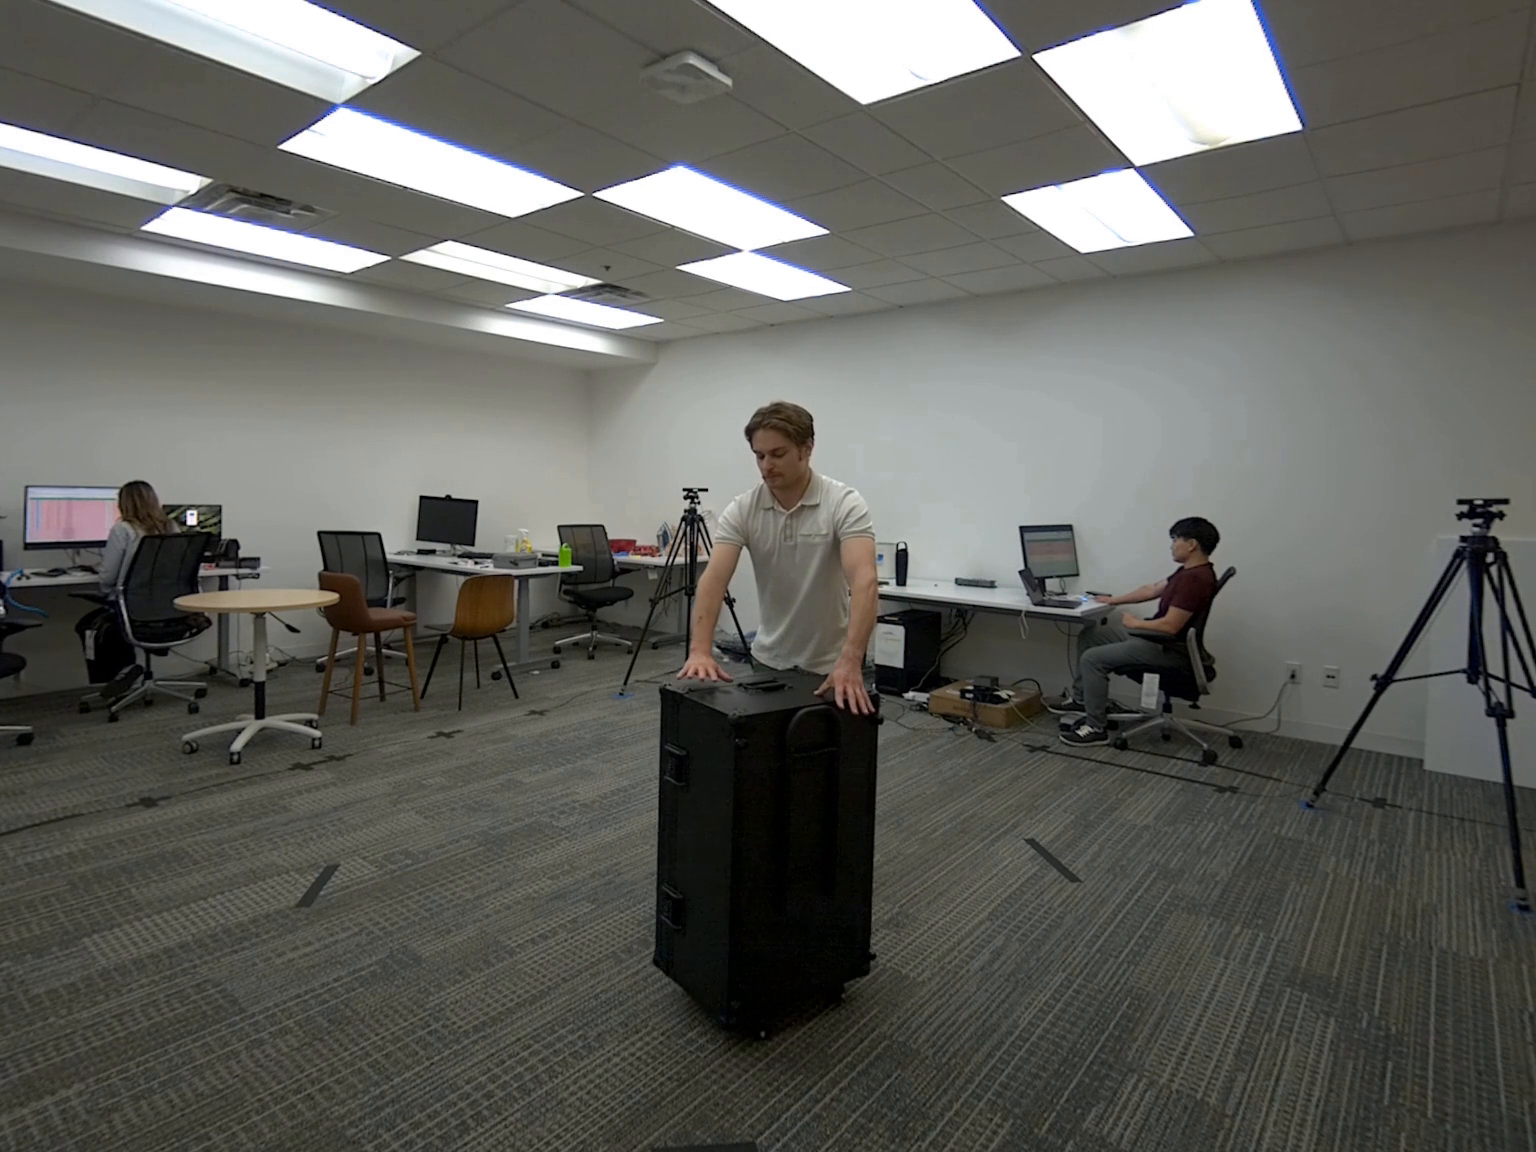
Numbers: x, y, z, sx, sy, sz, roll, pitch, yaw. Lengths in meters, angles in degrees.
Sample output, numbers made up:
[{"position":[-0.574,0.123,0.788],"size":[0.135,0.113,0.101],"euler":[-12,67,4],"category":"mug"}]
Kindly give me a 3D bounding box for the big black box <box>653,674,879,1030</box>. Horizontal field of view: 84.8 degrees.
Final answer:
[{"position":[-0.008,0.727,2.327],"size":[0.508,0.866,0.398],"euler":[-1,3,-37],"category":"big black box"}]
